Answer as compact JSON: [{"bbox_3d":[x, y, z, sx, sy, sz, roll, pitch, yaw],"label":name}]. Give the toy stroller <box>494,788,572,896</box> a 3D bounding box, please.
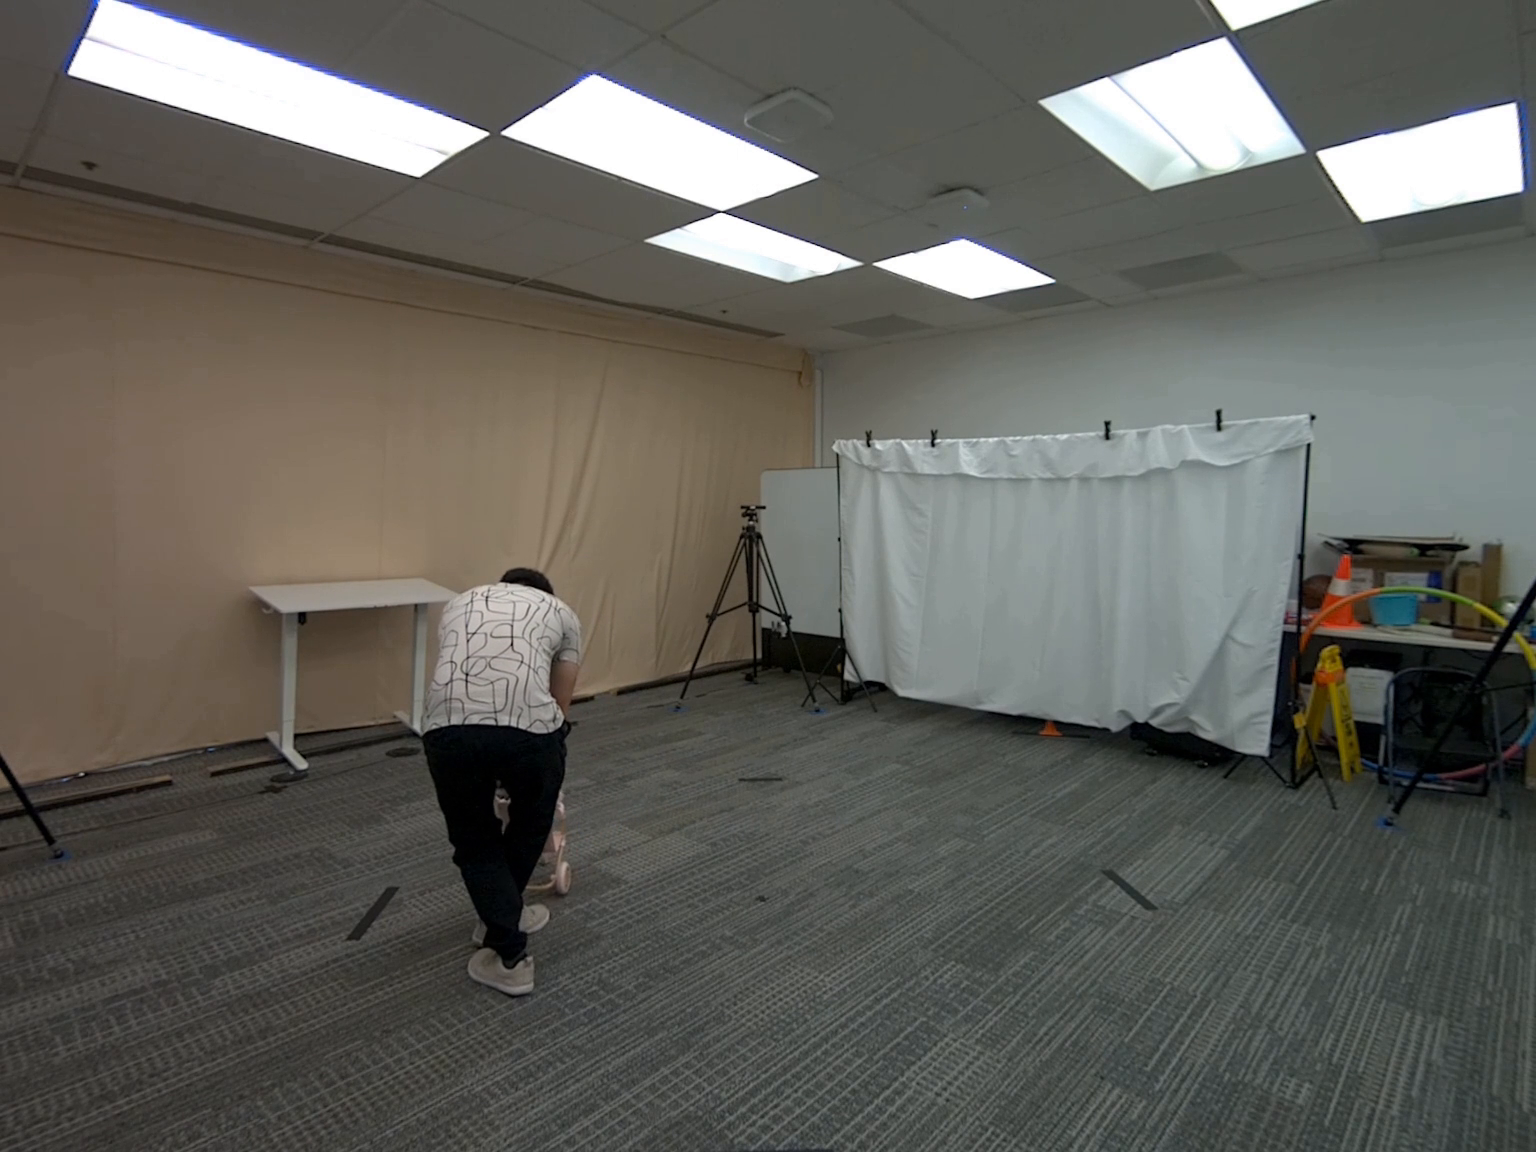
[{"bbox_3d":[-0.861,0.918,3.091,0.283,0.528,0.344,0,19,3],"label":"toy stroller"}]
